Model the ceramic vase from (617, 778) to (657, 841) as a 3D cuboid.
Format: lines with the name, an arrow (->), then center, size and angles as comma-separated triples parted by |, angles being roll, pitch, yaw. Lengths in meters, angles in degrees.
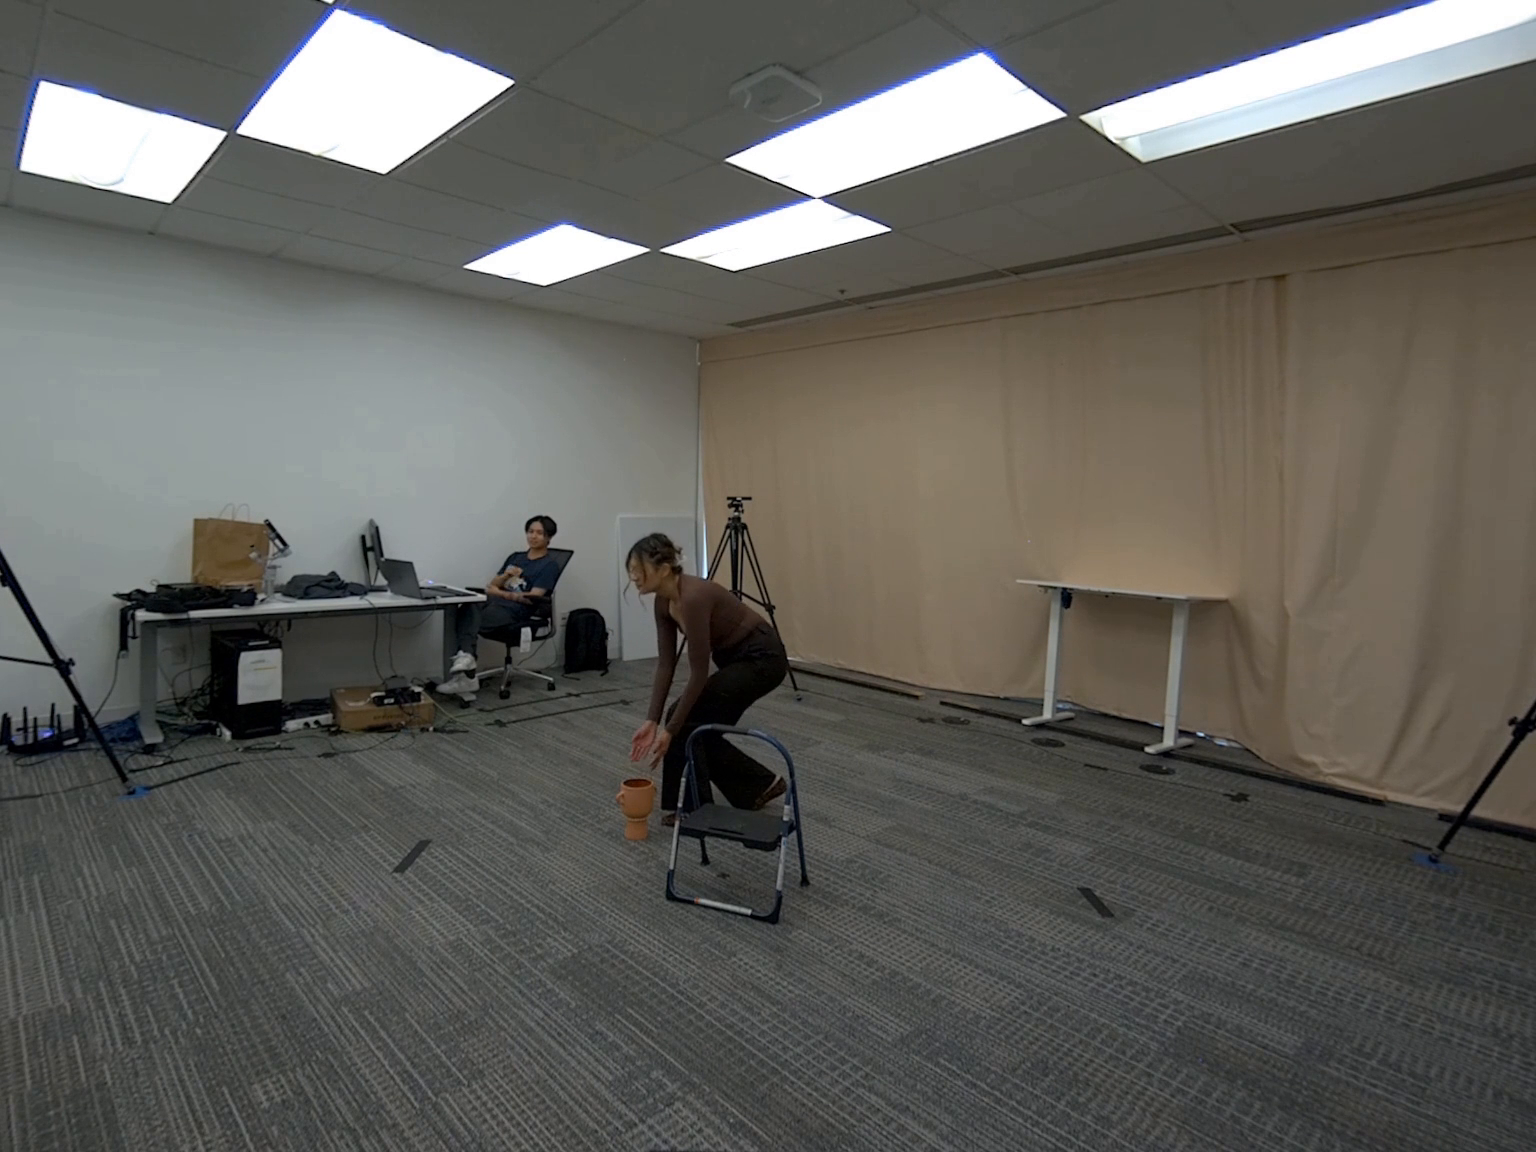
ceramic vase -> -0.545, 0.953, 3.448 | 0.159, 0.219, 0.135 | 2, 3, -1
